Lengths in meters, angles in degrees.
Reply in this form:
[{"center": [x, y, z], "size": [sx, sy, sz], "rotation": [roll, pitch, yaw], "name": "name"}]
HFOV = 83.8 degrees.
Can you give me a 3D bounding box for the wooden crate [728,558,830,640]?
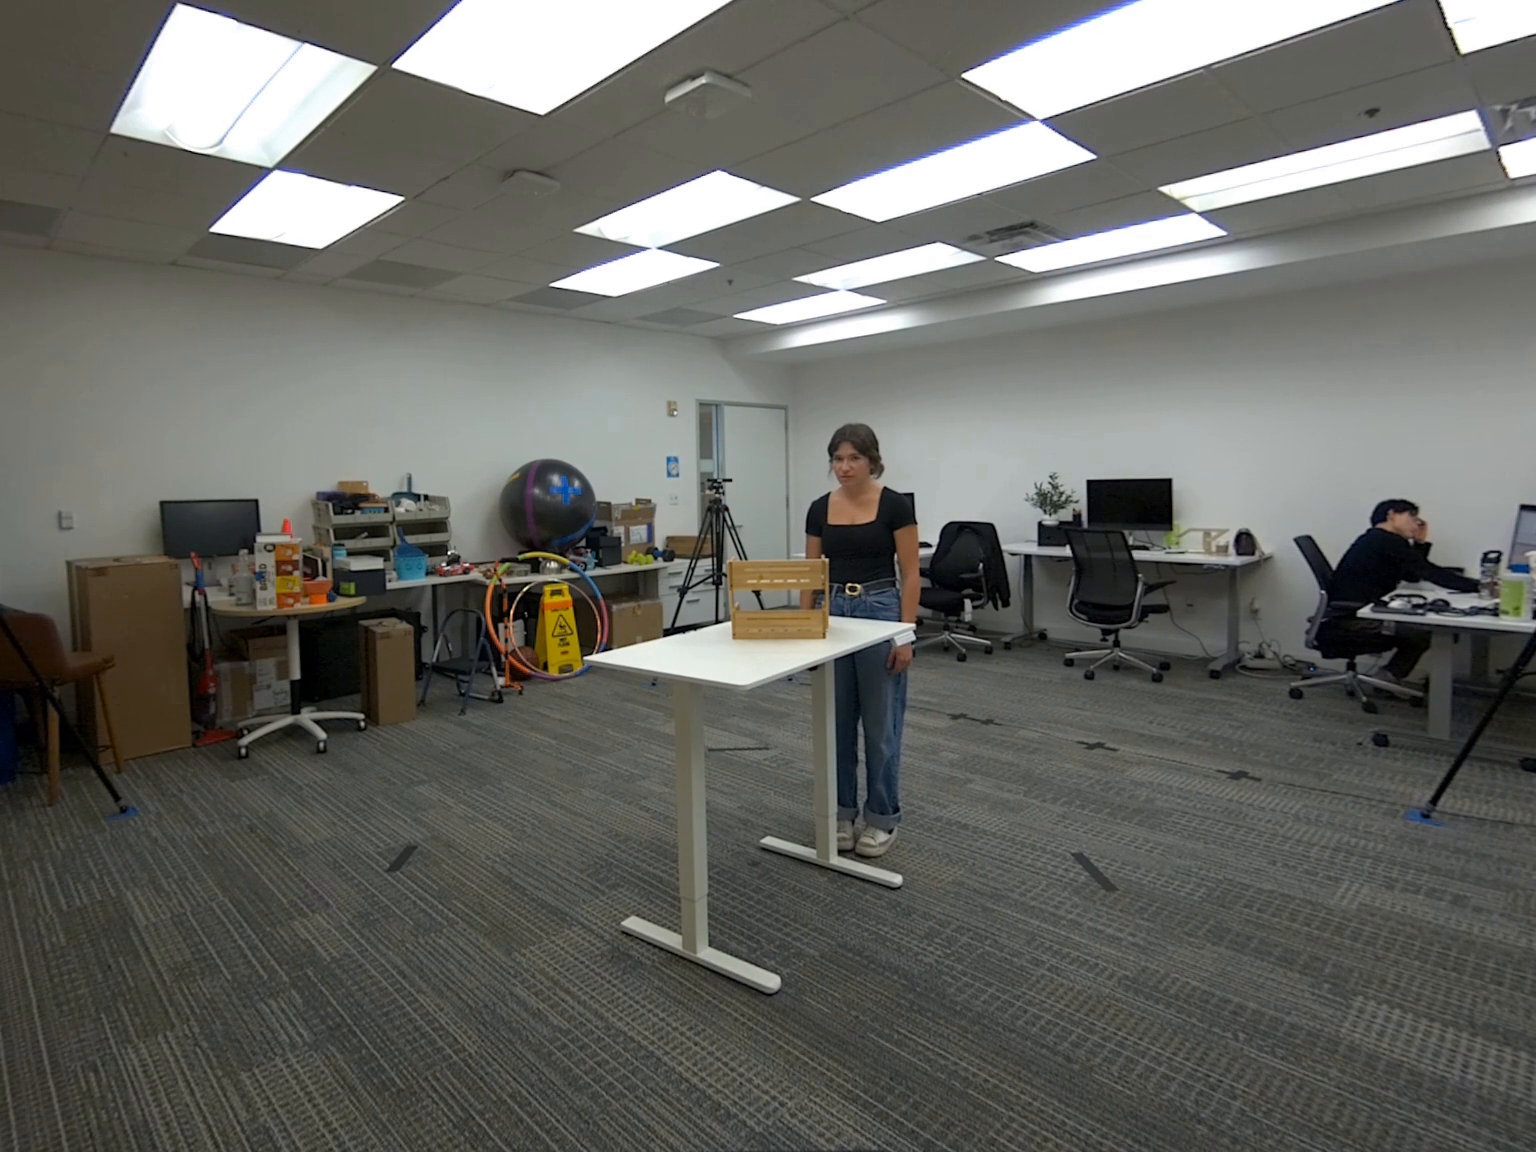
[{"center": [0.044, 0.063, 2.831], "size": [0.326, 0.272, 0.302], "rotation": [-1, 5, 4], "name": "wooden crate"}]
